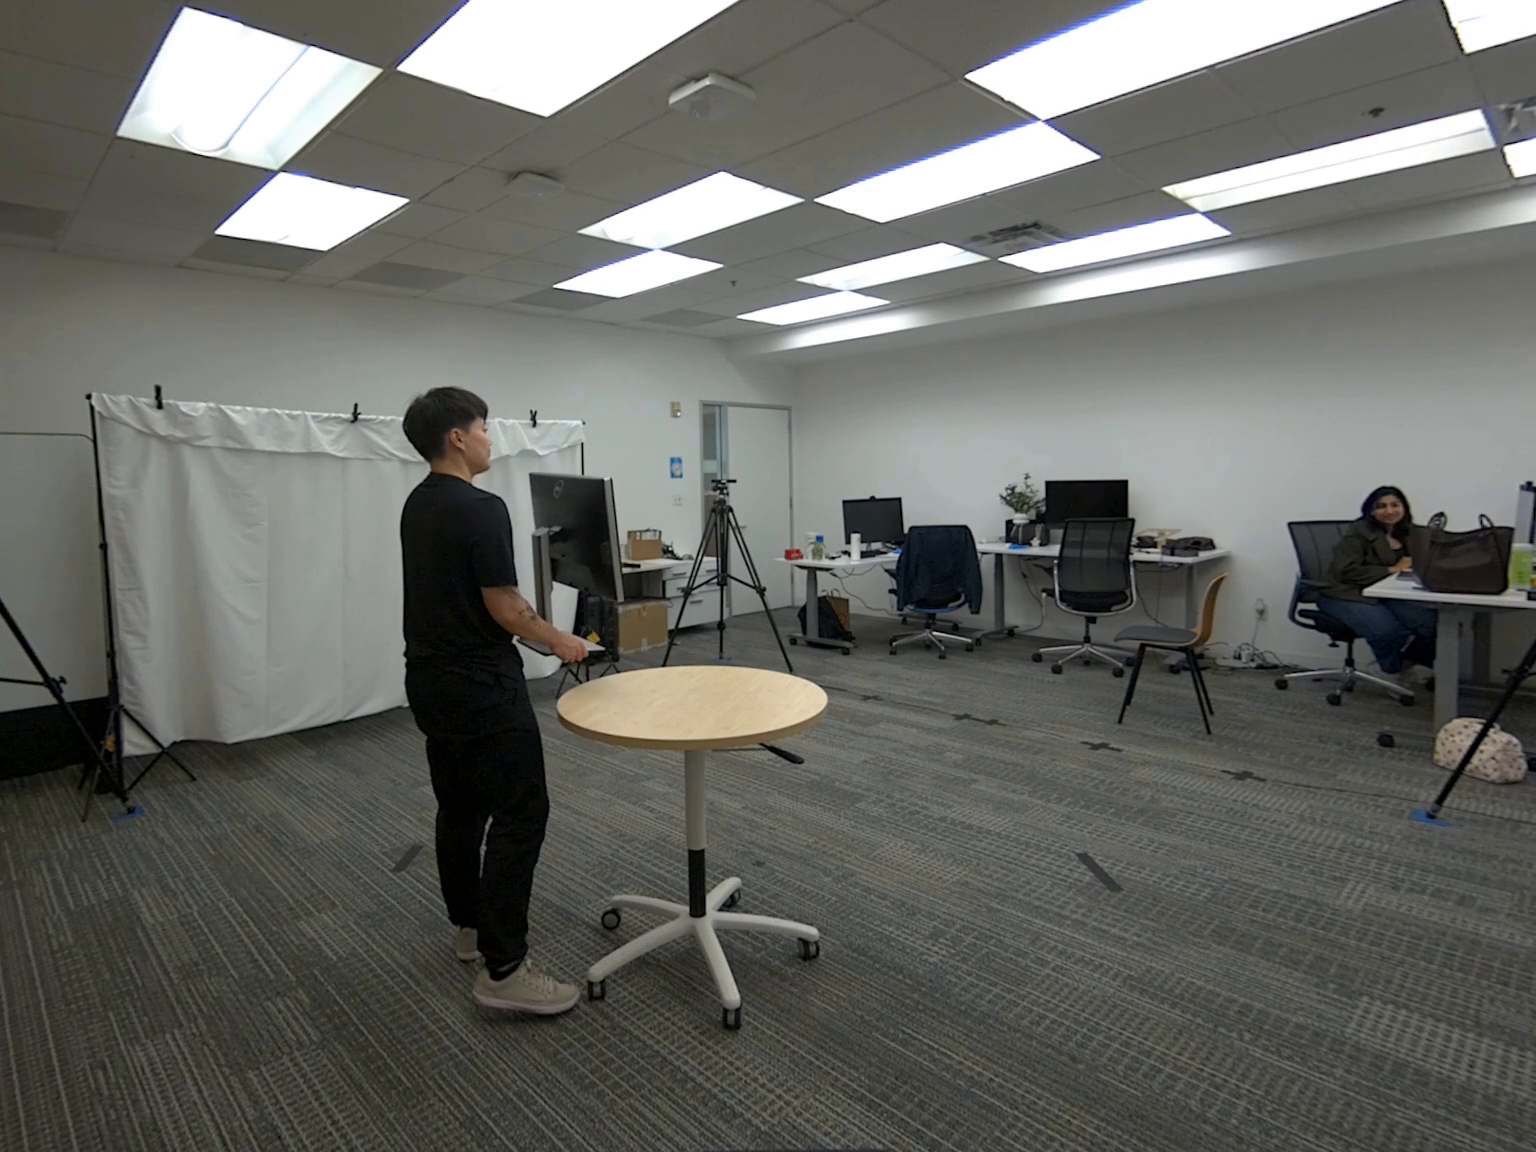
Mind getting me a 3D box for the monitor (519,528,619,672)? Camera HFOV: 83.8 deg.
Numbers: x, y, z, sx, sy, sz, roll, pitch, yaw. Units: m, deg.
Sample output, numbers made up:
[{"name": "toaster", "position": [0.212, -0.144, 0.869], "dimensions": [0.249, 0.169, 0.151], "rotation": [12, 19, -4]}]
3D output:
[{"name": "monitor", "position": [-0.629, -0.049, 2.657], "dimensions": [0.182, 0.521, 0.556], "rotation": [2, 5, -38]}]
